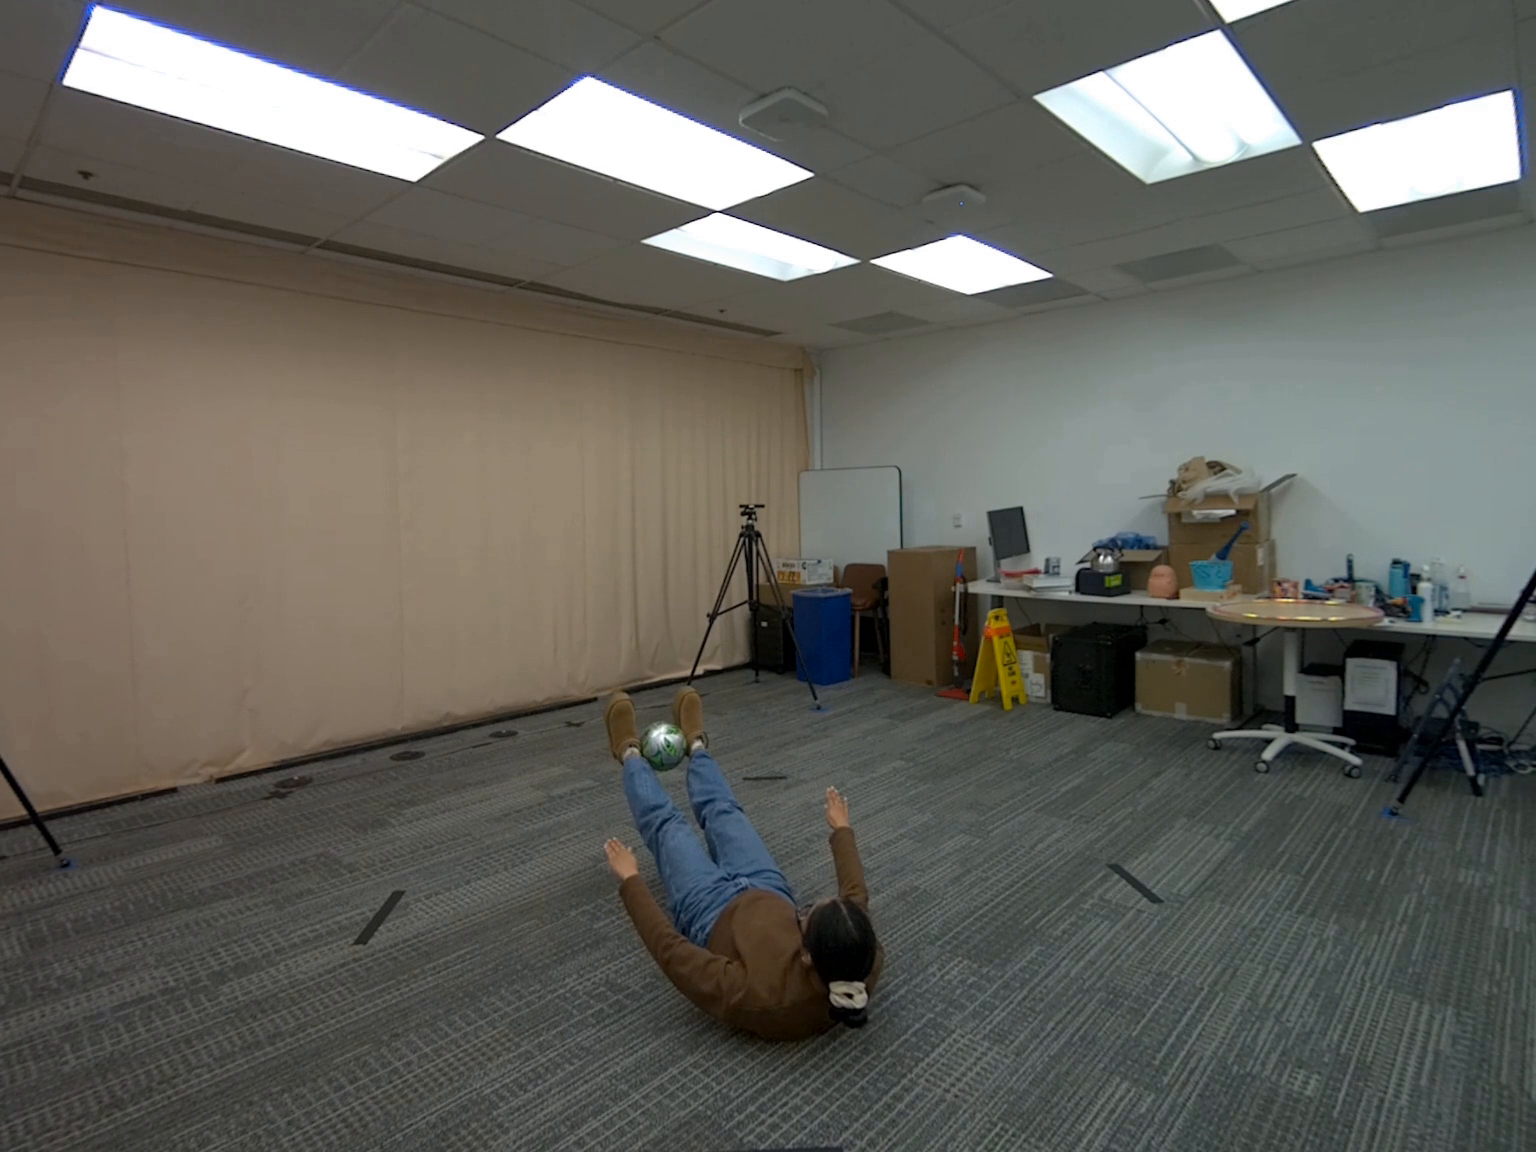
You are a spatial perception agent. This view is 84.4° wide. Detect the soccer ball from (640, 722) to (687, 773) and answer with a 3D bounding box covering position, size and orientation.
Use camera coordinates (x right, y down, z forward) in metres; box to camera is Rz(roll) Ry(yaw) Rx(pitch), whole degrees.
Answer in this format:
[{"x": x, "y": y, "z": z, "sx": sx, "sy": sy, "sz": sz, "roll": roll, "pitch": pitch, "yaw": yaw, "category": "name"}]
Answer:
[{"x": -0.413, "y": 0.662, "z": 3.244, "sx": 0.187, "sy": 0.187, "sz": 0.188, "roll": -1, "pitch": 4, "yaw": -2, "category": "soccer ball"}]
